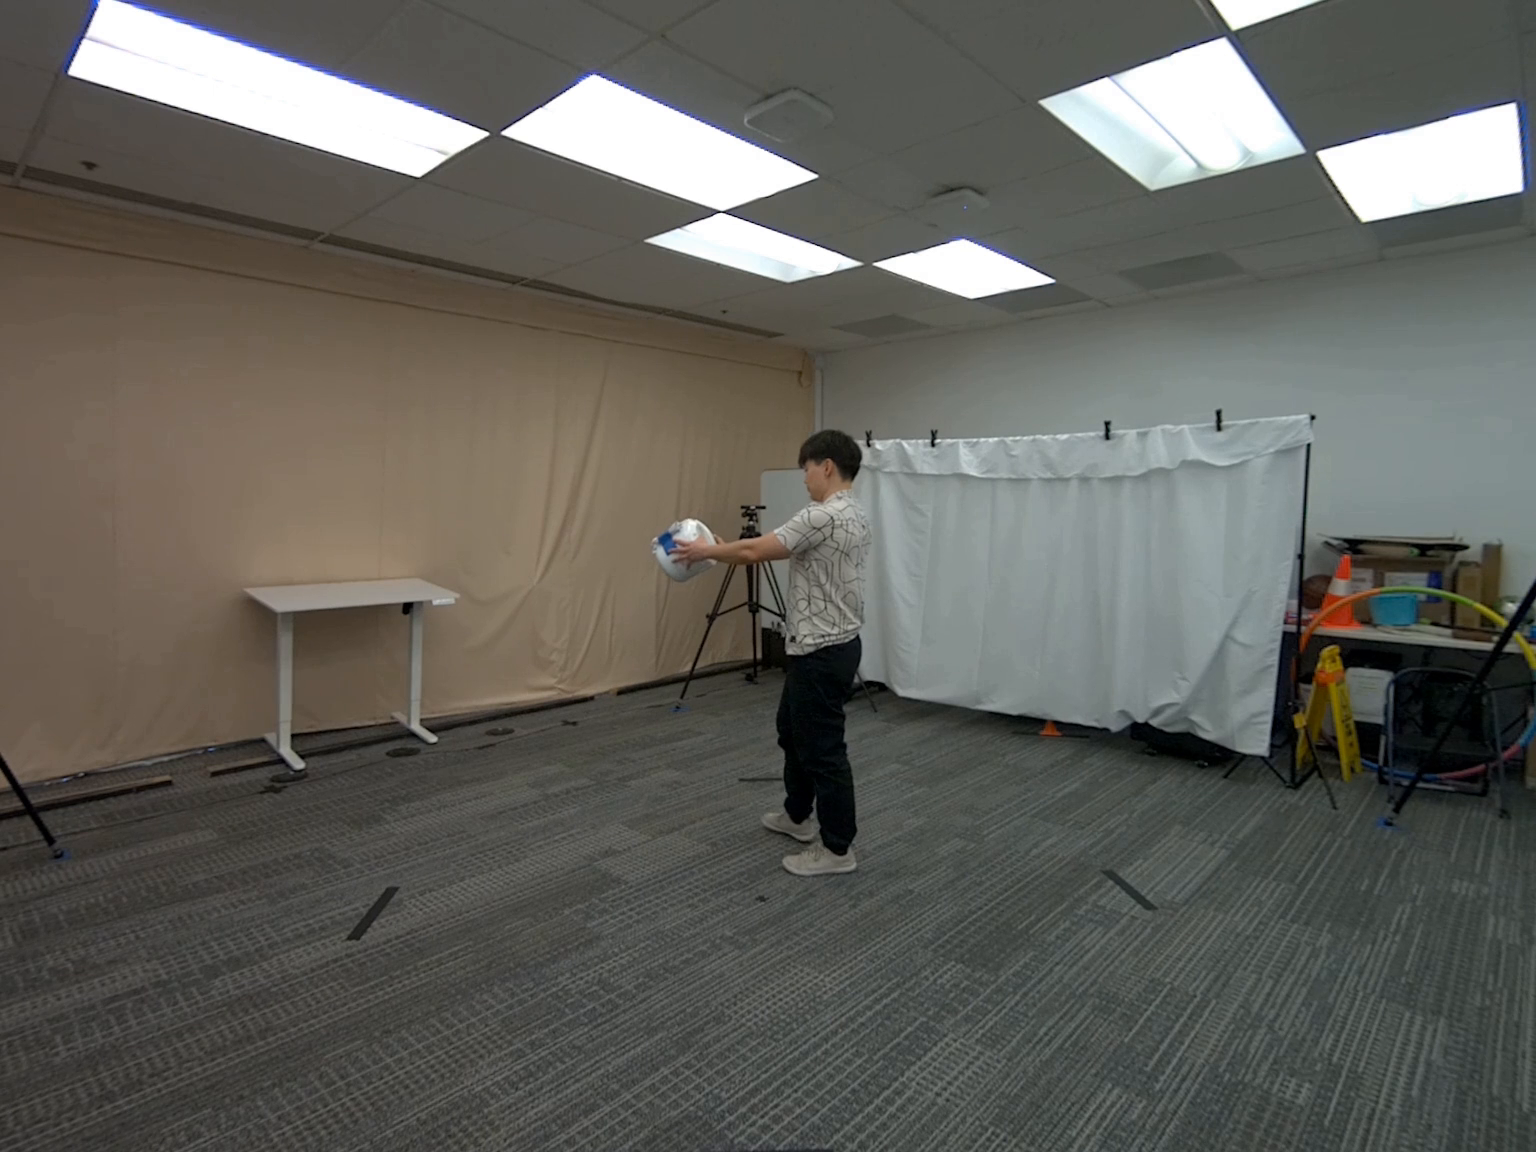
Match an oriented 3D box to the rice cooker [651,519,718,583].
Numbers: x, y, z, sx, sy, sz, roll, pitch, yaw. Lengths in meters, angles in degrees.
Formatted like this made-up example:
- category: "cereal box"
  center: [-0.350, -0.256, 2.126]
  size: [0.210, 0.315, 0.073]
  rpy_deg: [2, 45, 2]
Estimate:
- category: "rice cooker"
  center: [-0.321, -0.107, 3.437]
  size: [0.235, 0.223, 0.213]
  rpy_deg: [-29, -9, 19]
